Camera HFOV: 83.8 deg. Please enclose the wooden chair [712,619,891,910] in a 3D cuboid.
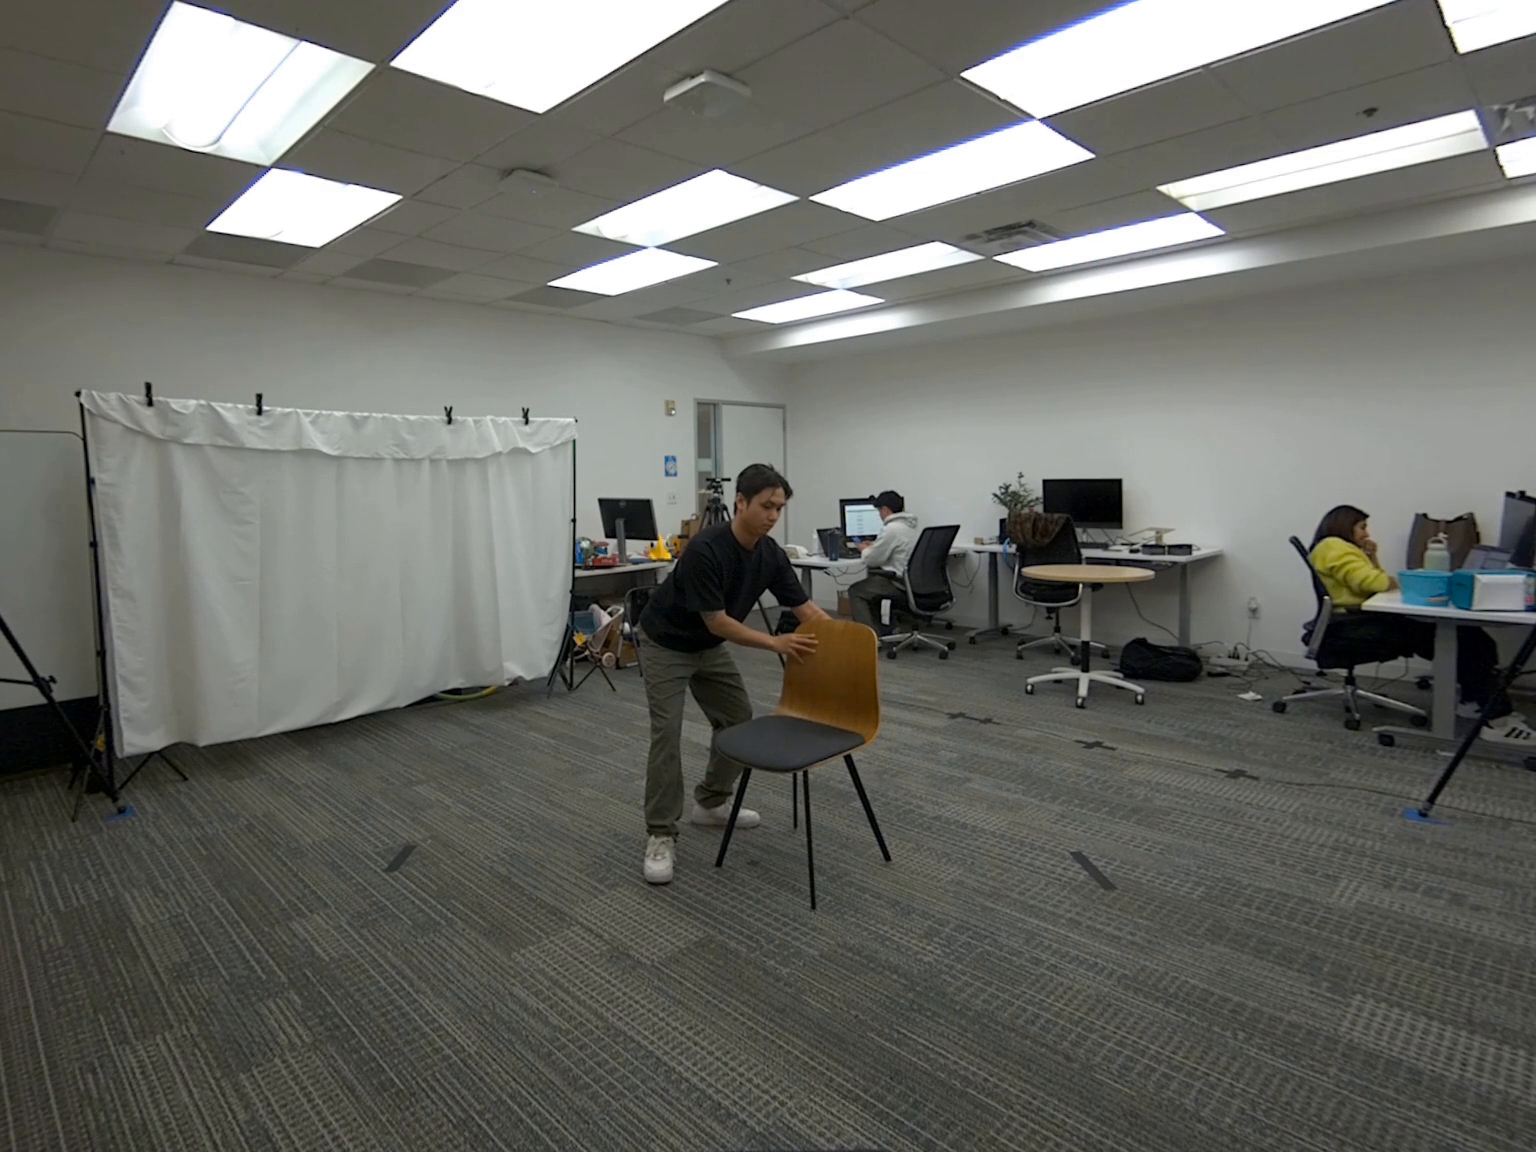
[{"bbox_3d":[0.114,0.615,3.027,0.493,0.876,0.508,4,3,42],"label":"wooden chair"}]
